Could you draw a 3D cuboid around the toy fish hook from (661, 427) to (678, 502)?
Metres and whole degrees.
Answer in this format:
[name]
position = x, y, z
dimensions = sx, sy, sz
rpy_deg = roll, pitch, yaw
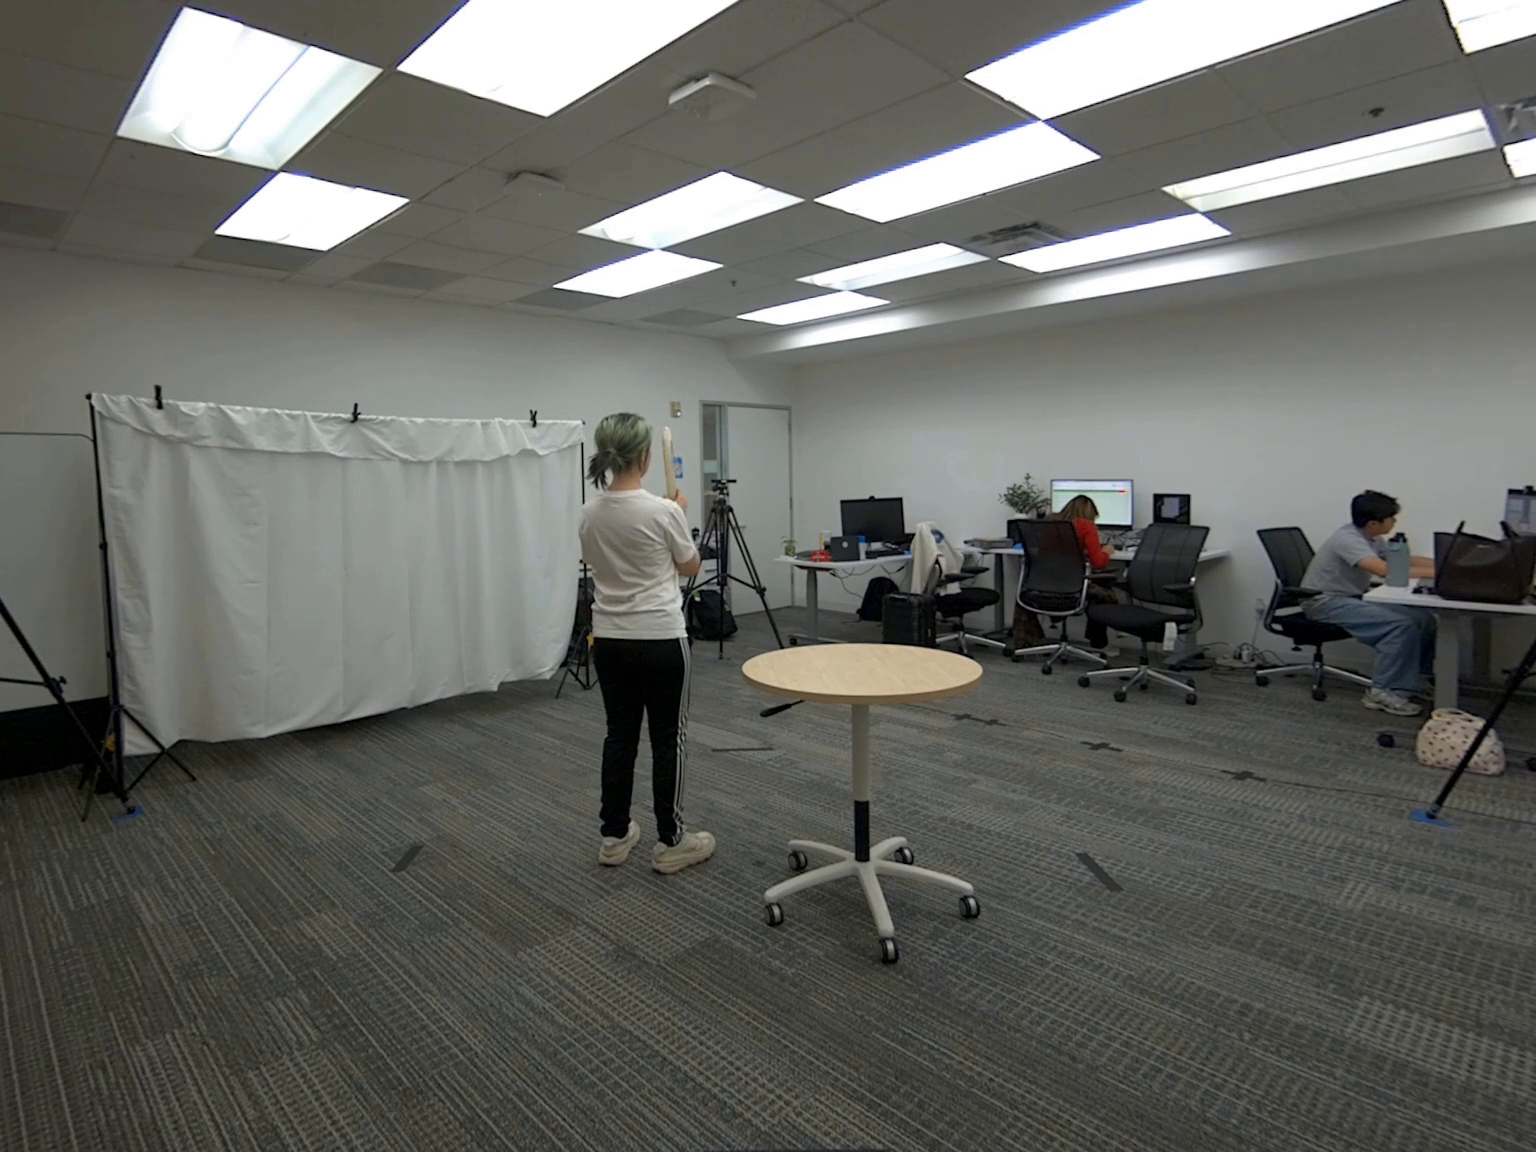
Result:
[toy fish hook]
position = -0.386, -0.341, 3.391
dimensions = 0.048, 0.507, 0.224
rpy_deg = -2, -1, 0
